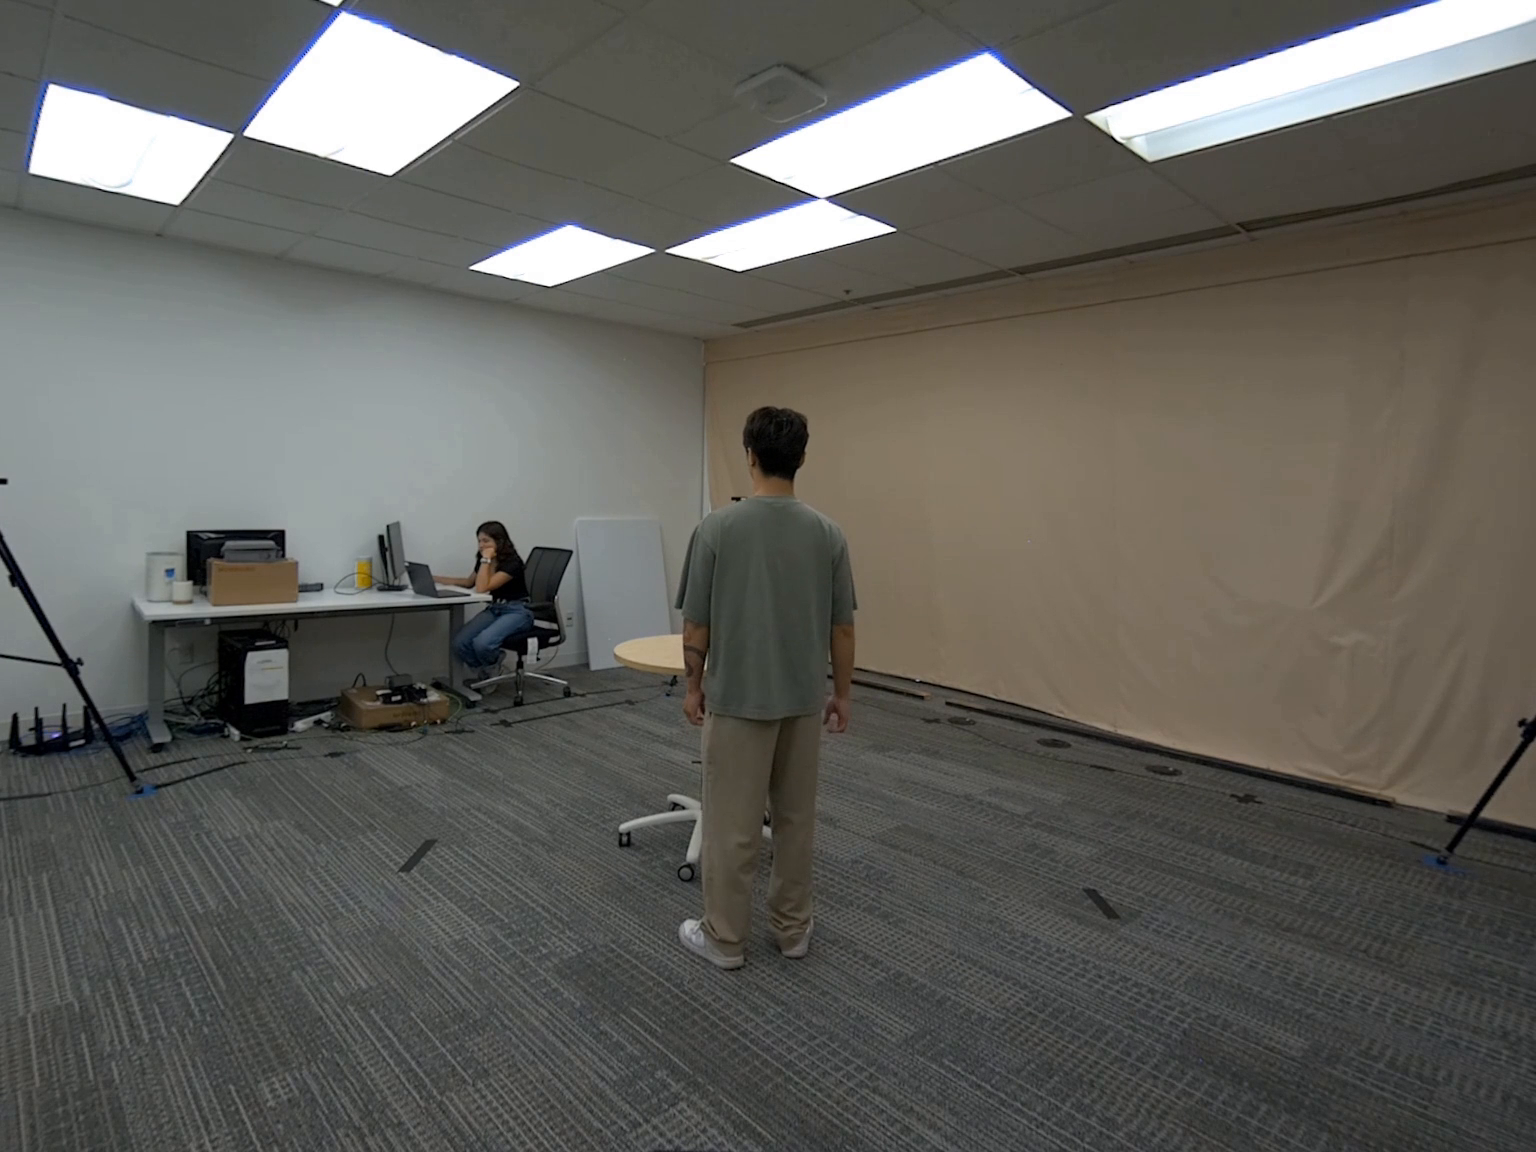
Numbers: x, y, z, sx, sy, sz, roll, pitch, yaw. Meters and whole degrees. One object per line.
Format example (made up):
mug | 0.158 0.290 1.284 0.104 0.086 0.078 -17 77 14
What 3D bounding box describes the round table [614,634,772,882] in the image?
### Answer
round table | -0.245 0.688 3.393 0.784 0.784 0.788 2 5 -2
